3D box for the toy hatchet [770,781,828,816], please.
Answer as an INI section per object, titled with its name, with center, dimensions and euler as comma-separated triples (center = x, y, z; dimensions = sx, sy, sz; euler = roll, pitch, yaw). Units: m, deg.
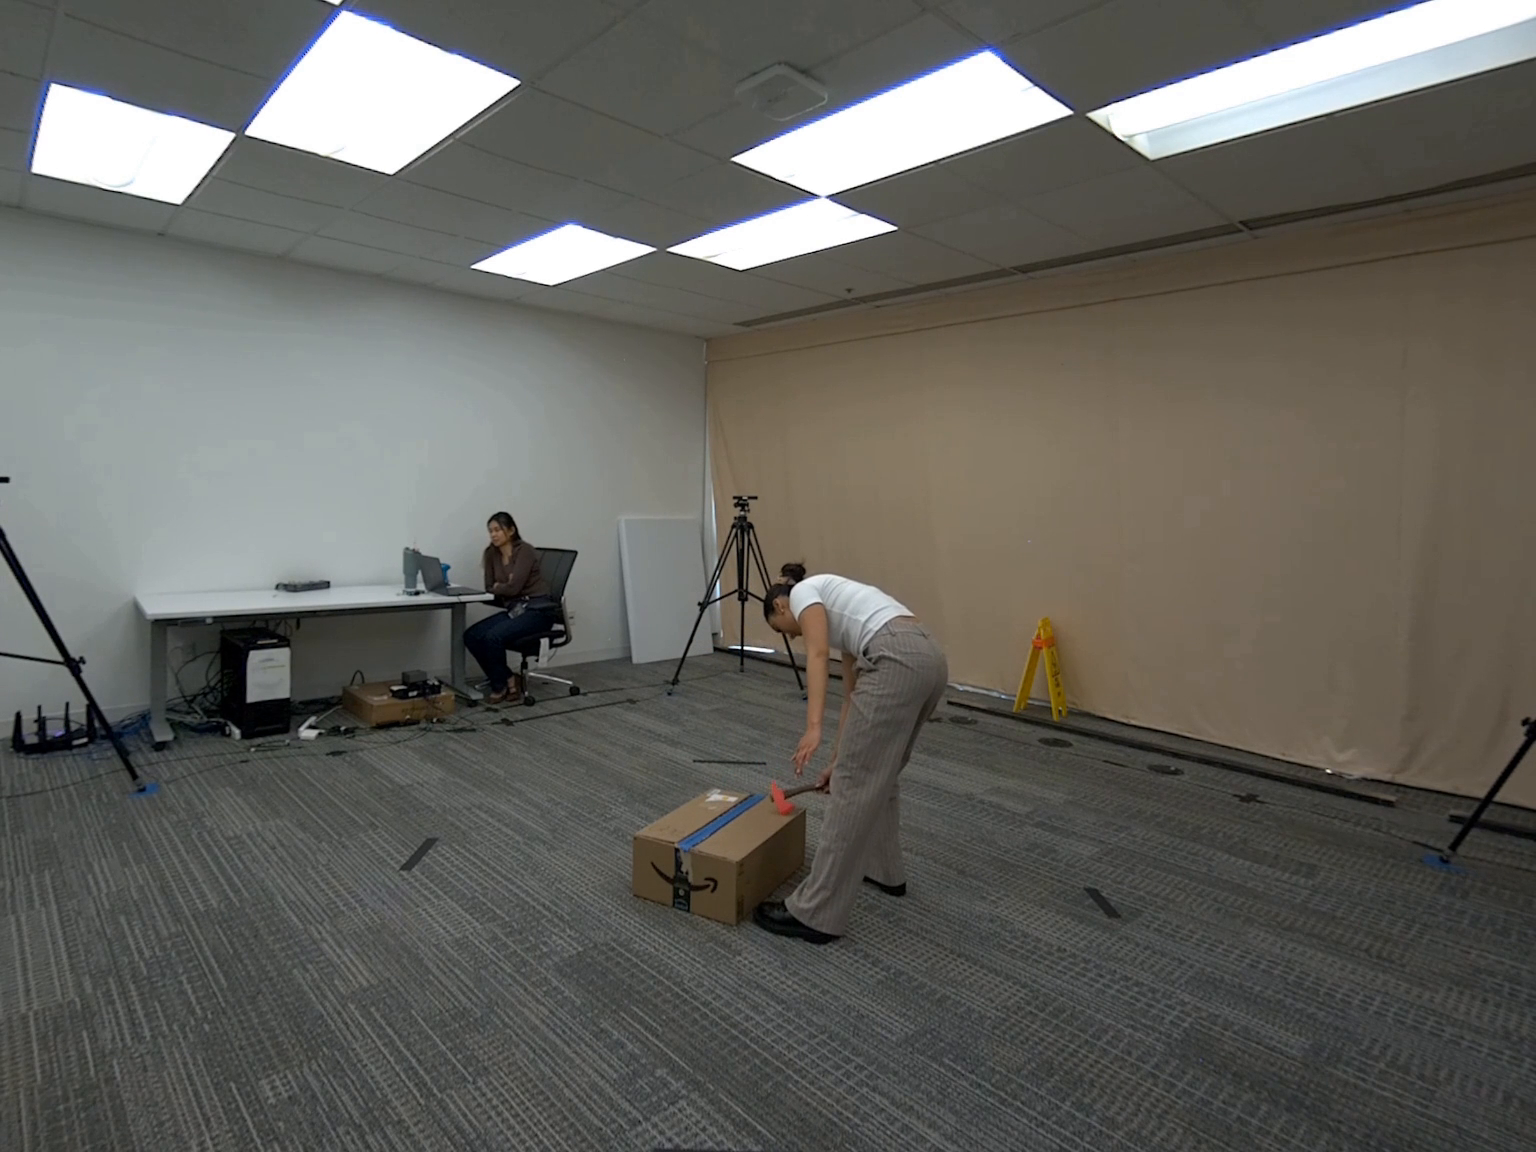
[toy hatchet]
center = 0.138, 0.835, 3.150
dimensions = 0.271, 0.133, 0.029
euler = 2, -40, 5
